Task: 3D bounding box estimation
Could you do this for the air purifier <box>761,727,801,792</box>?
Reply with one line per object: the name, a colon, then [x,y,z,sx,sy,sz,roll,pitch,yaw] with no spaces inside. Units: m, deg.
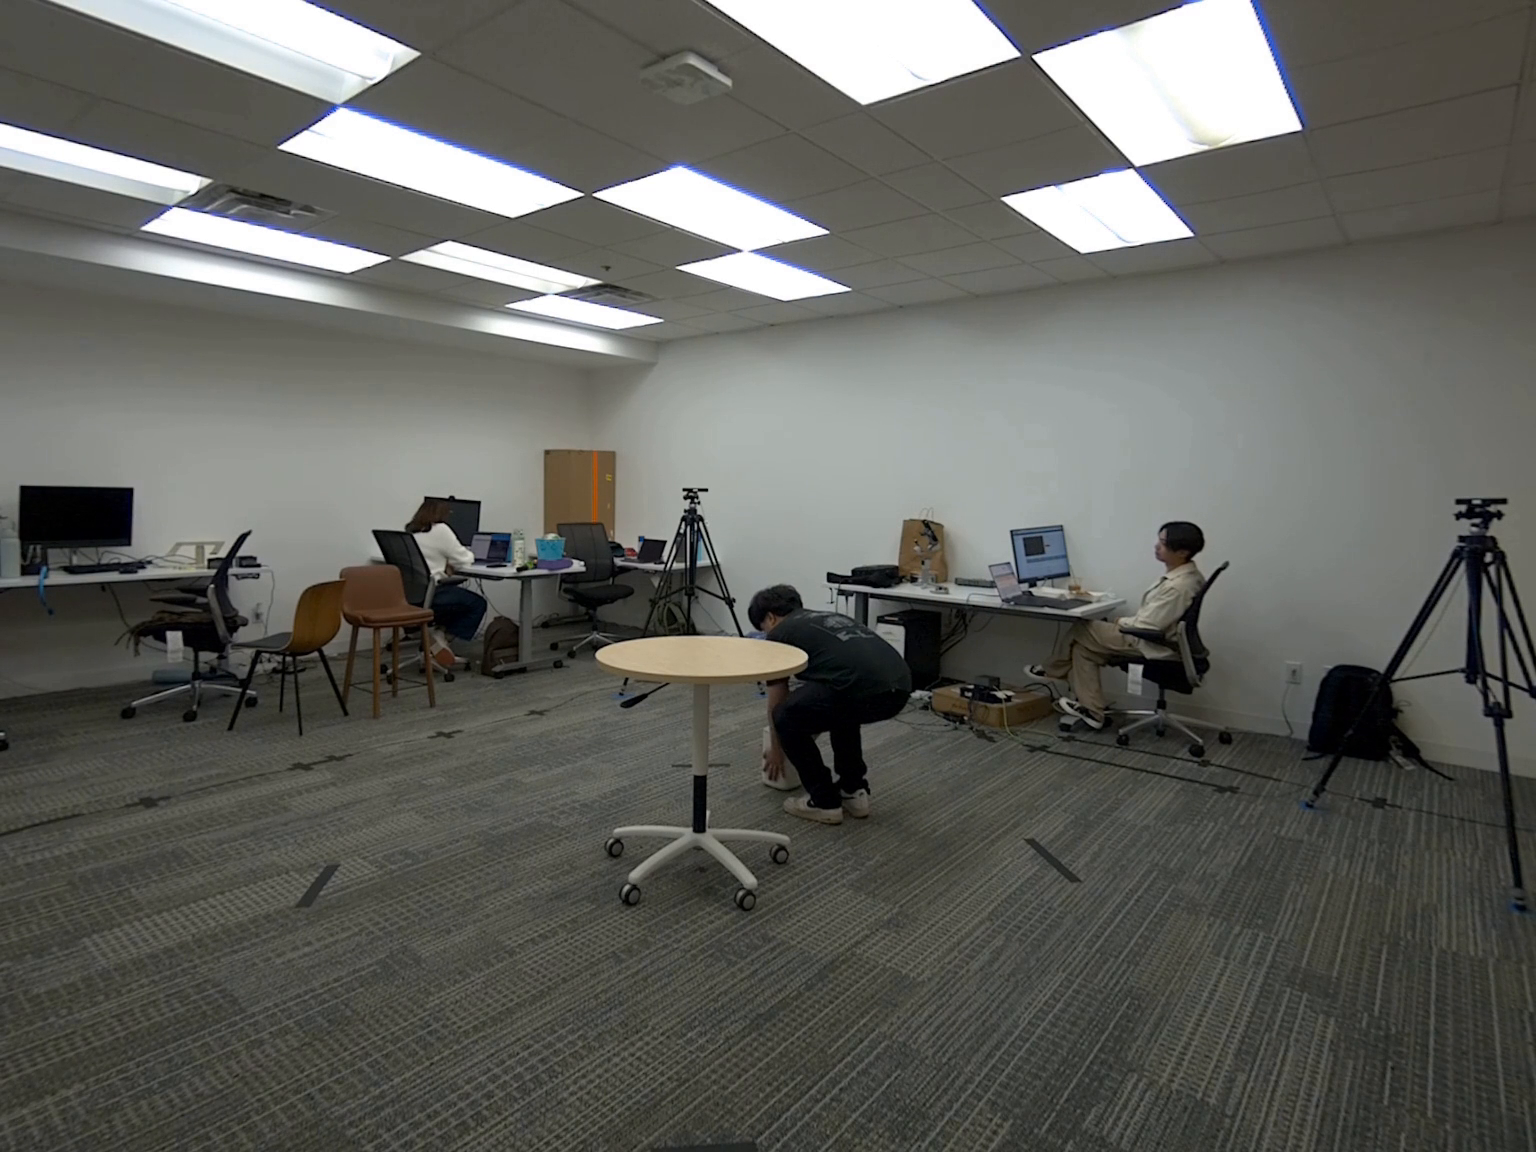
air purifier: [0.067,0.843,4.024,0.177,0.264,0.166,4,5,39]
